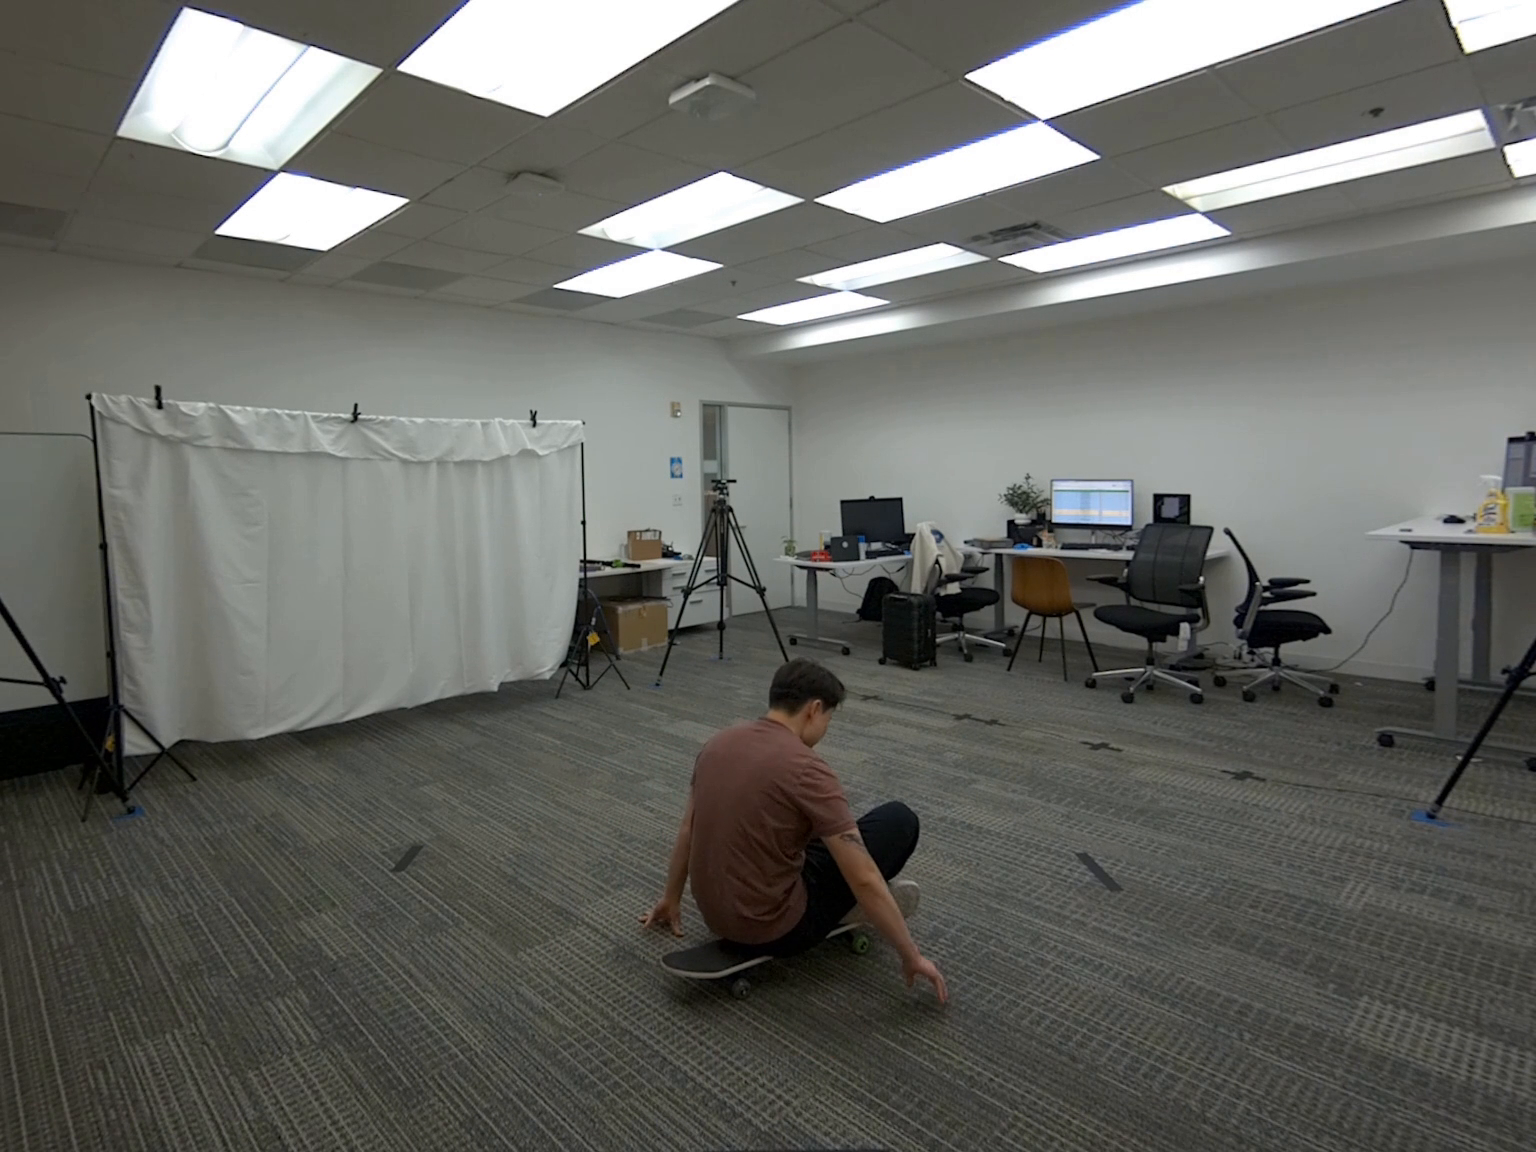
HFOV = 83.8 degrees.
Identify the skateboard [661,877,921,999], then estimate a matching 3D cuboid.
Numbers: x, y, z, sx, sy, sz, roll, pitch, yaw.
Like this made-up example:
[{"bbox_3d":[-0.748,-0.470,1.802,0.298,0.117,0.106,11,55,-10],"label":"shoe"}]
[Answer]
[{"bbox_3d":[0.070,1.065,2.472,0.769,0.110,0.197,-7,0,-26],"label":"skateboard"}]
